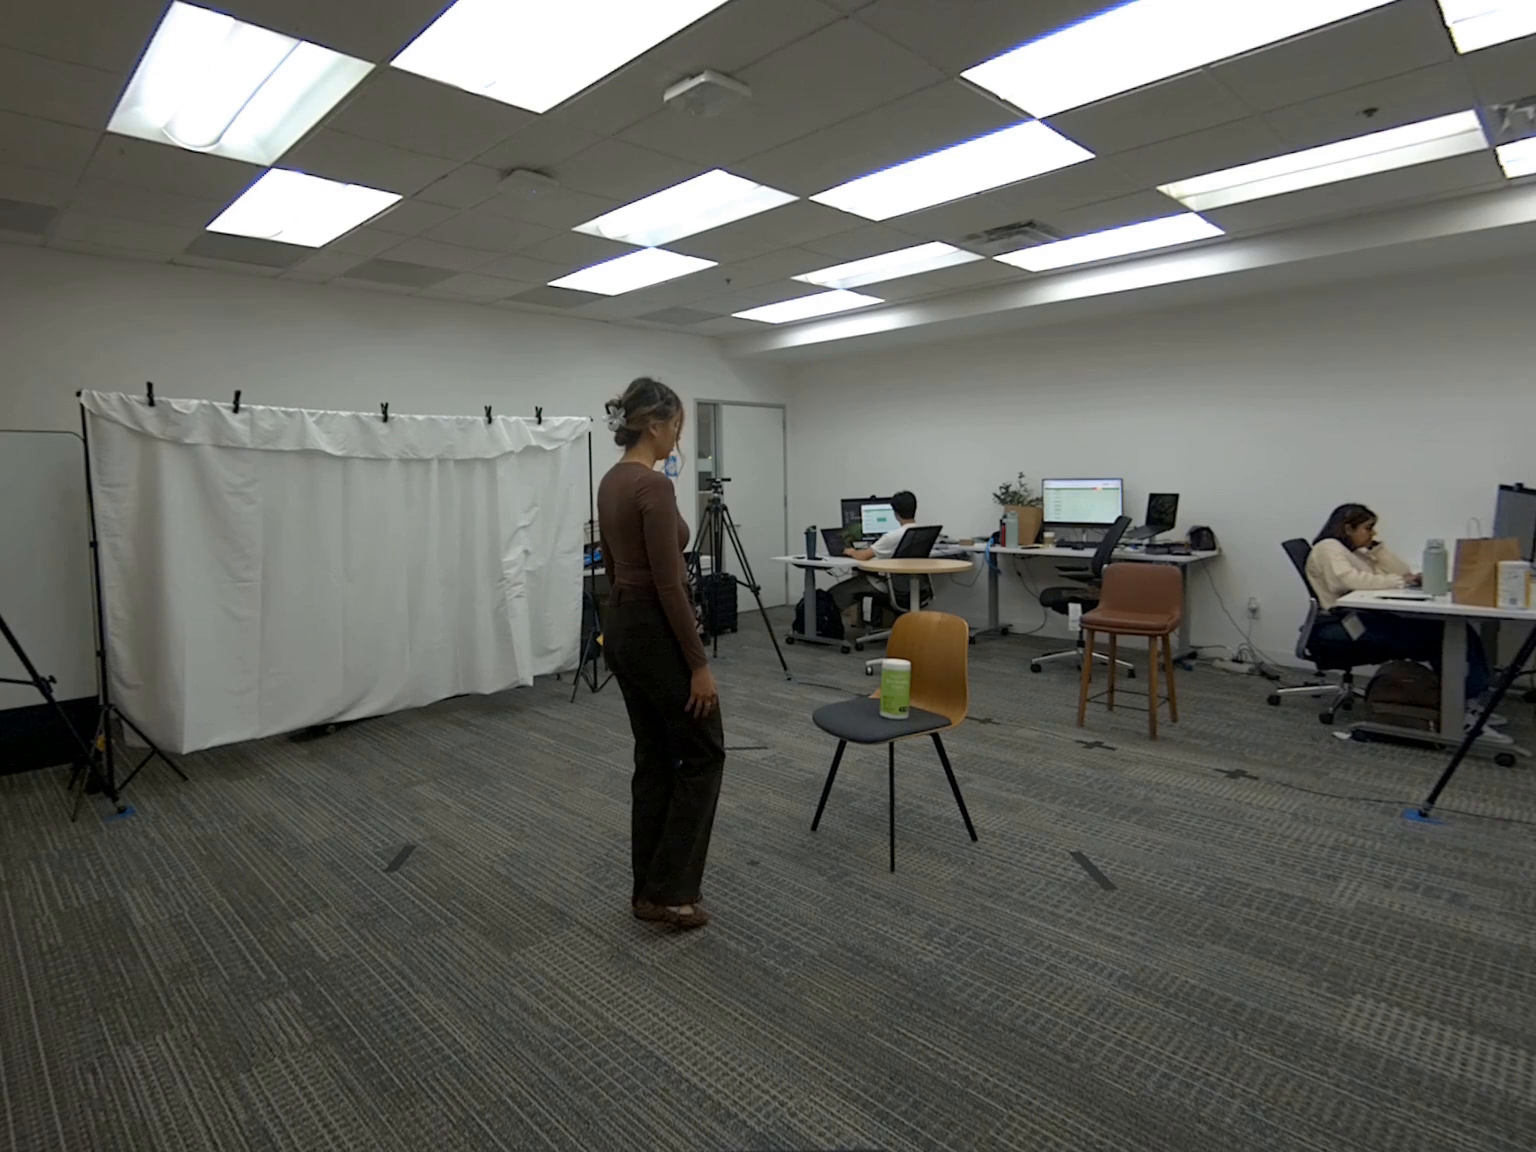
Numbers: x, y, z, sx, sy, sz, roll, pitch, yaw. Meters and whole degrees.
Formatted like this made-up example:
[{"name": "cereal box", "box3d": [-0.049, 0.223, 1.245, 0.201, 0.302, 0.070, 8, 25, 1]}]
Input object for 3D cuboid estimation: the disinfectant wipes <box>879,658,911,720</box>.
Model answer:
[{"name": "disinfectant wipes", "box3d": [0.497, 0.437, 3.296, 0.118, 0.217, 0.118, 3, 2, -2]}]
